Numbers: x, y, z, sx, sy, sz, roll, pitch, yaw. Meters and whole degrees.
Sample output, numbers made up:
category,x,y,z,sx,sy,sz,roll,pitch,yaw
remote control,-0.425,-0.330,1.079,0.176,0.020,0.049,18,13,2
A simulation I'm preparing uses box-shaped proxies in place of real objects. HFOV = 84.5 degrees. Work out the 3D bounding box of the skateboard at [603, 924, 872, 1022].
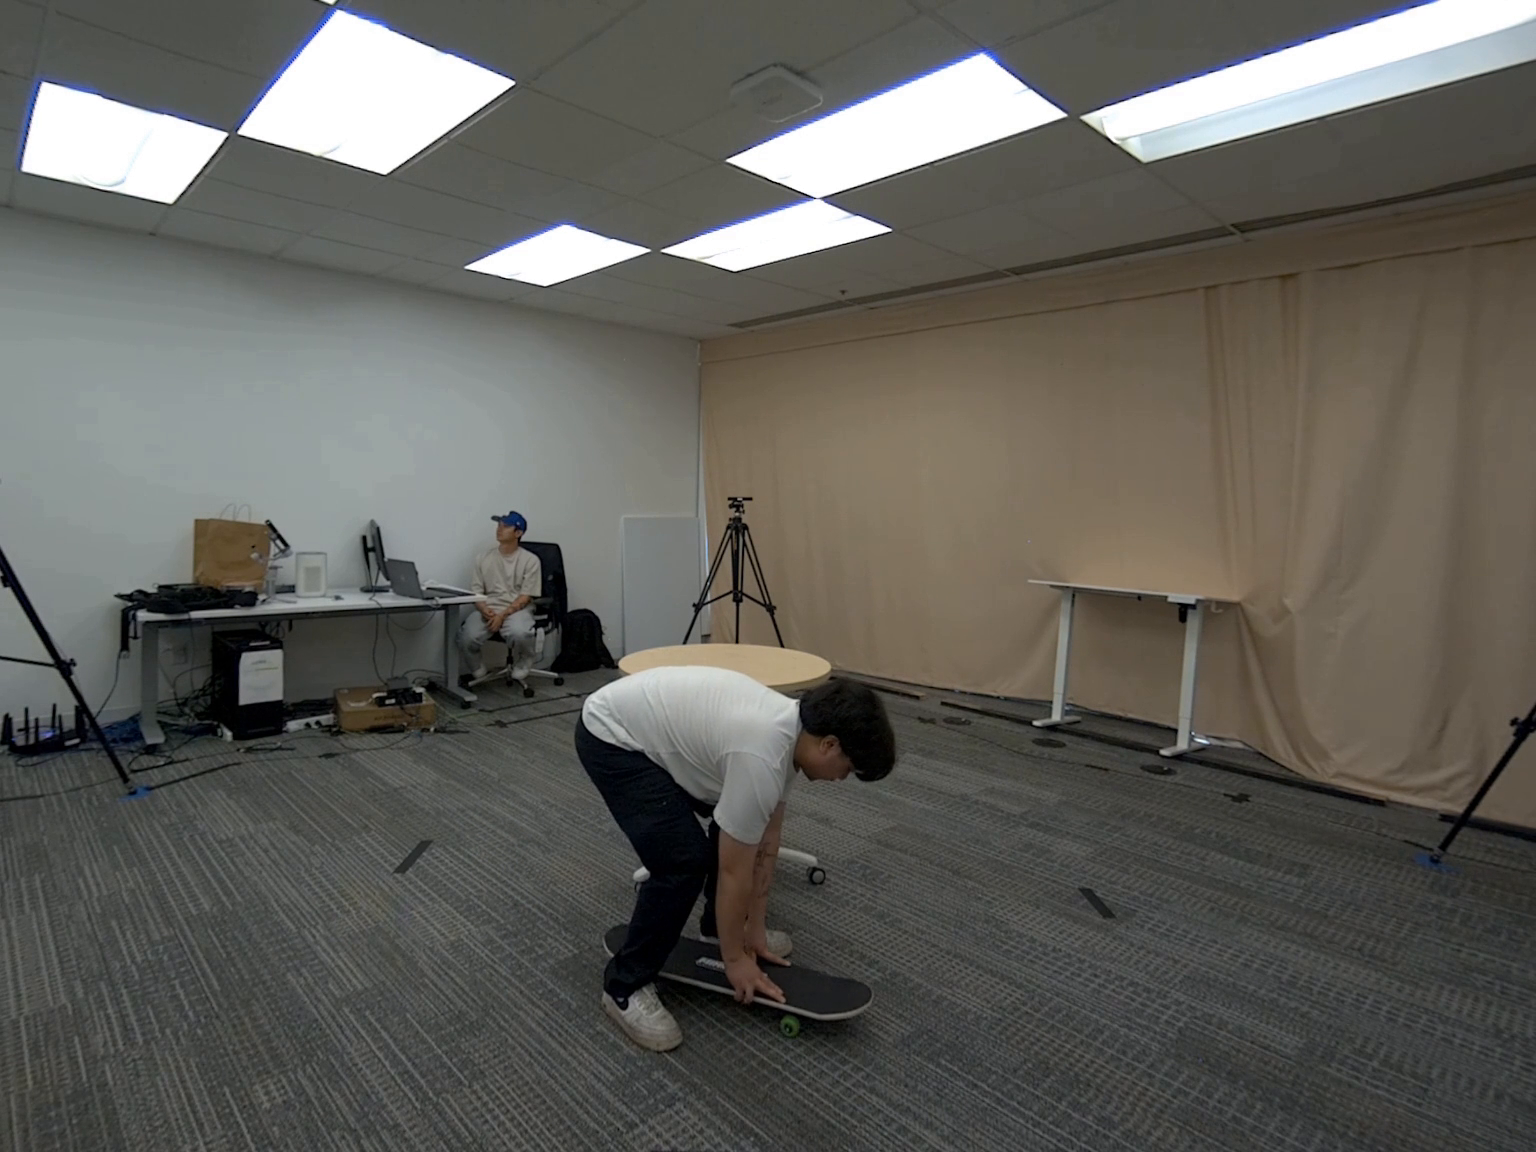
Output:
category,x,y,z,sx,sy,sz,roll,pitch,yaw
skateboard,-0.110,1.126,2.338,0.799,0.110,0.191,4,5,22
